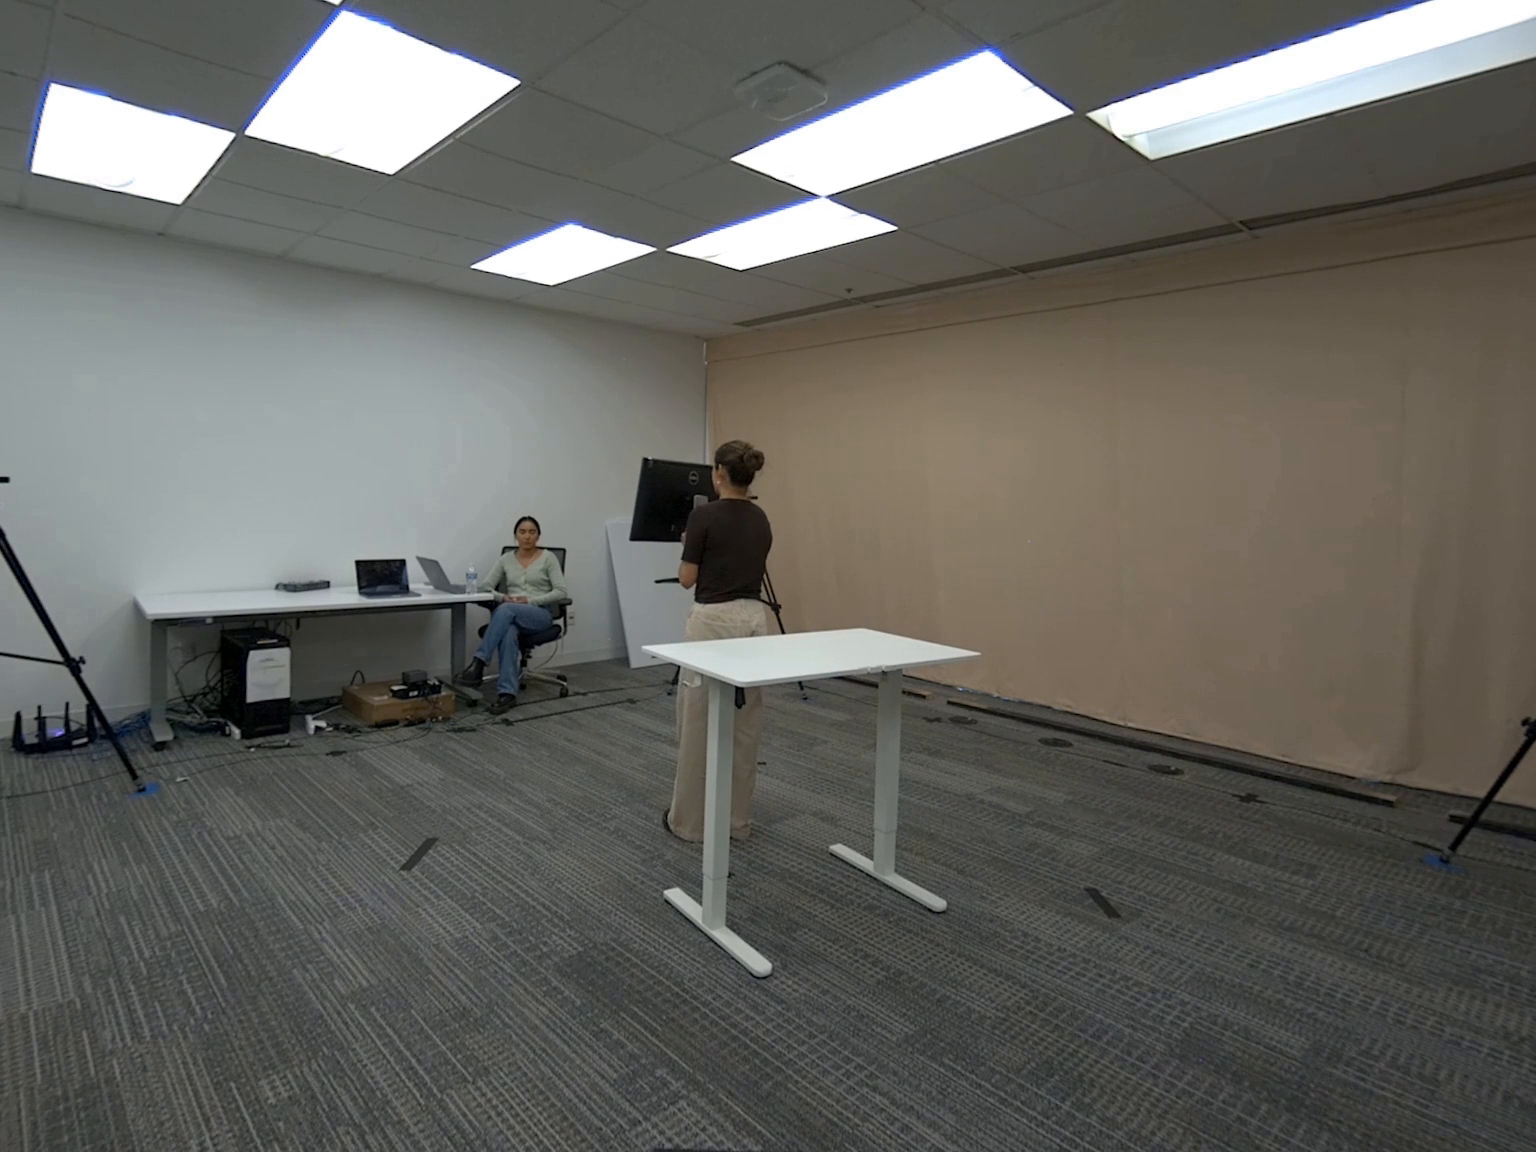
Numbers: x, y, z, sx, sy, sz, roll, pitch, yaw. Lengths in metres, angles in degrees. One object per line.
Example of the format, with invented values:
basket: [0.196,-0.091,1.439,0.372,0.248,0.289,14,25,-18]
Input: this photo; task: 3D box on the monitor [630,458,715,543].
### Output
monitor: [-0.347,-0.228,3.626,0.191,0.522,0.526,0,1,41]
